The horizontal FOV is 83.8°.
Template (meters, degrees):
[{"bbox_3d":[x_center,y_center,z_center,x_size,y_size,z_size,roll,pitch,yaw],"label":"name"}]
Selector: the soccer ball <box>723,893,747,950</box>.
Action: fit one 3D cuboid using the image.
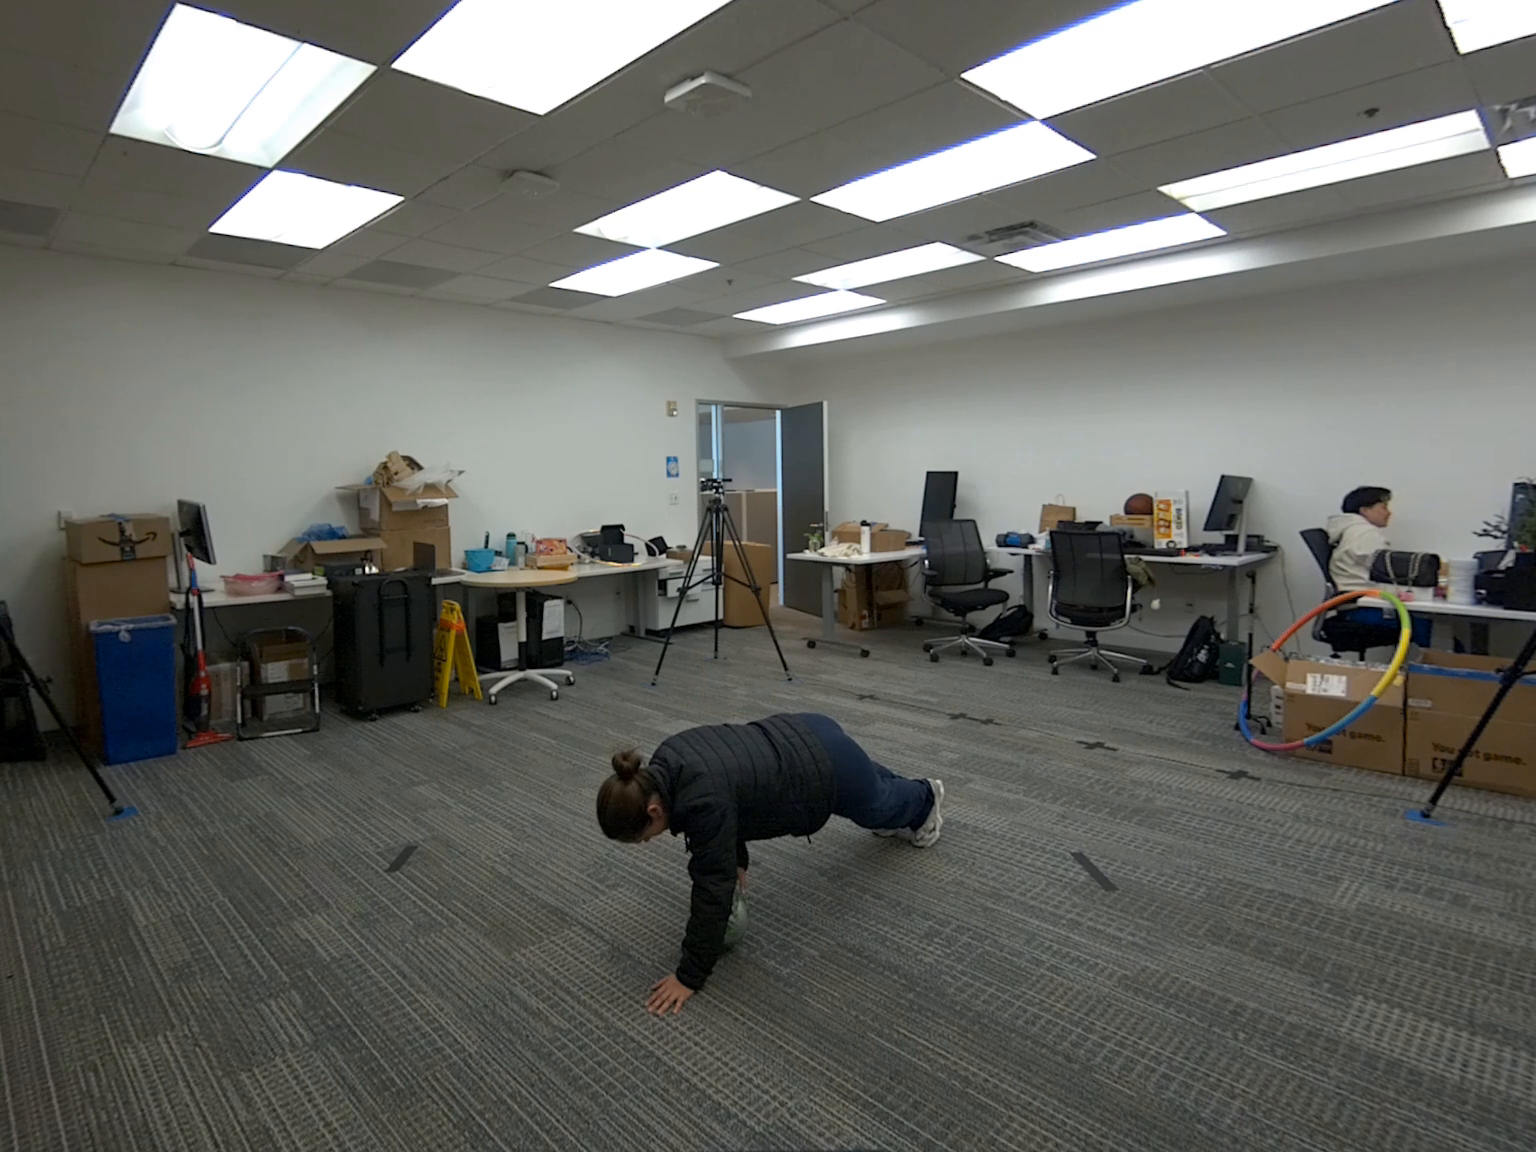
[{"bbox_3d":[-0.139,1.020,2.558,0.187,0.187,0.188,-1,5,-2],"label":"soccer ball"}]
